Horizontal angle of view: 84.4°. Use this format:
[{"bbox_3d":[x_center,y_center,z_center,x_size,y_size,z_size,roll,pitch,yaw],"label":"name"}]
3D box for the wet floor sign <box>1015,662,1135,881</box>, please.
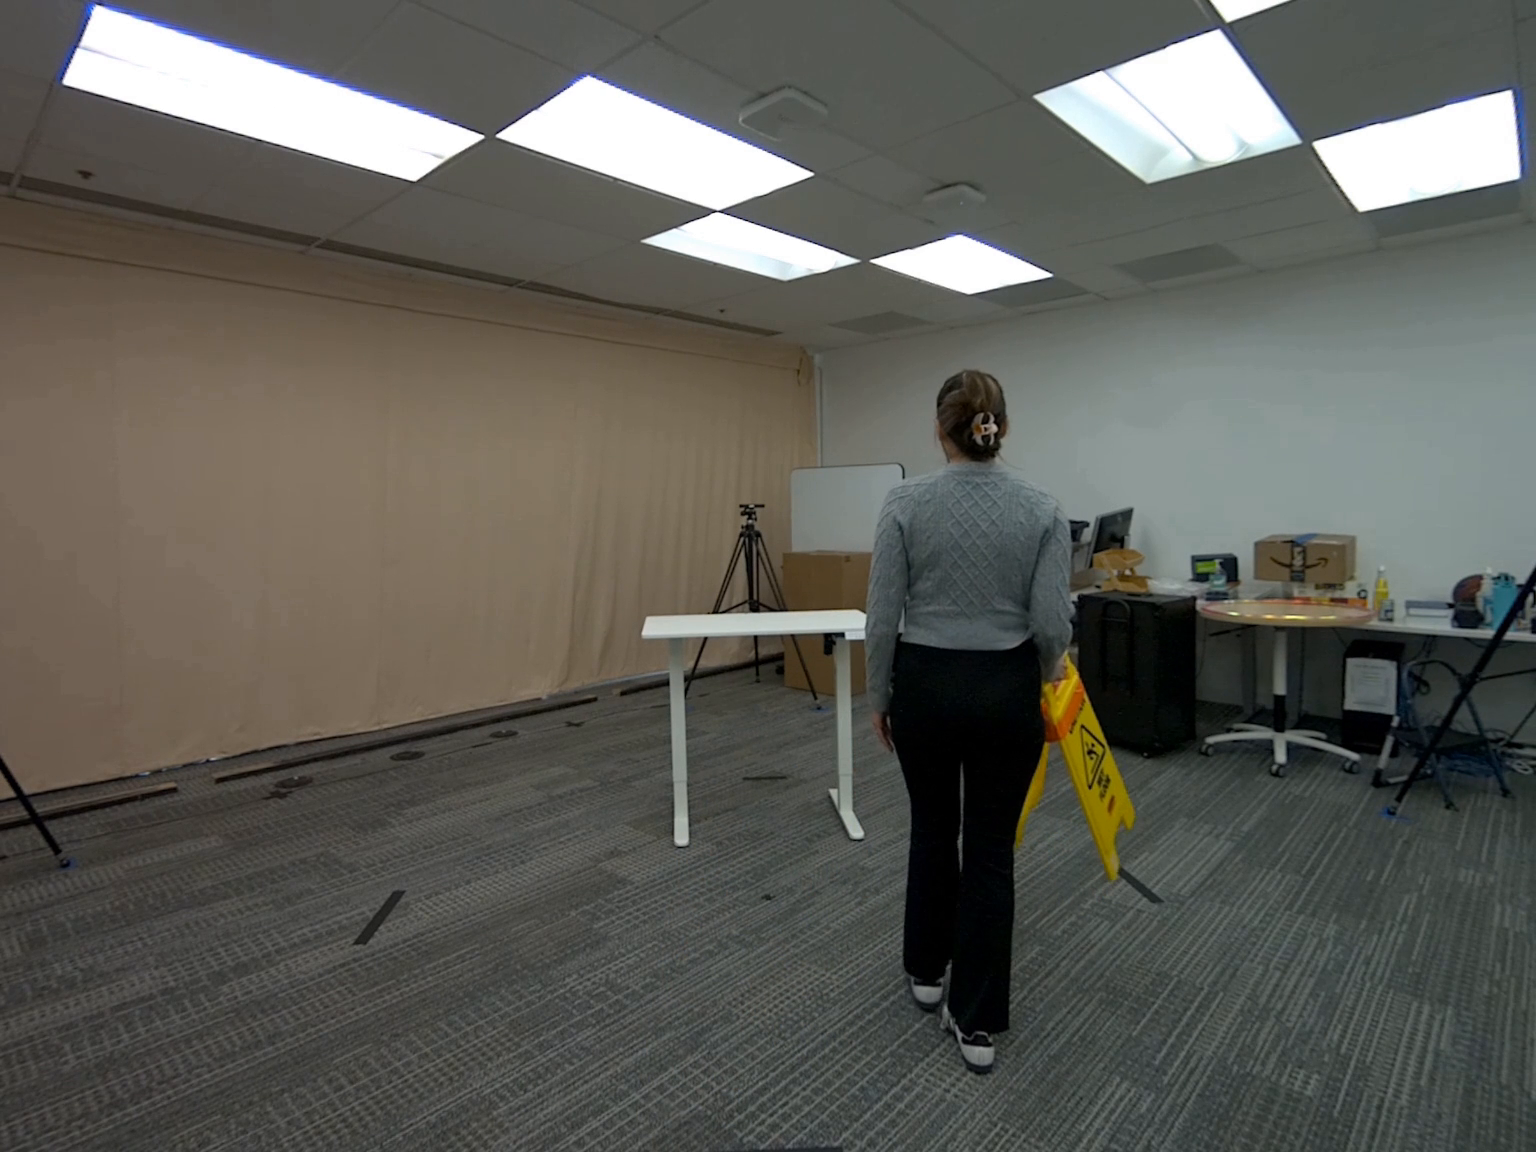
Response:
[{"bbox_3d":[0.858,0.517,2.425,0.299,0.633,0.279,3,30,36],"label":"wet floor sign"}]
